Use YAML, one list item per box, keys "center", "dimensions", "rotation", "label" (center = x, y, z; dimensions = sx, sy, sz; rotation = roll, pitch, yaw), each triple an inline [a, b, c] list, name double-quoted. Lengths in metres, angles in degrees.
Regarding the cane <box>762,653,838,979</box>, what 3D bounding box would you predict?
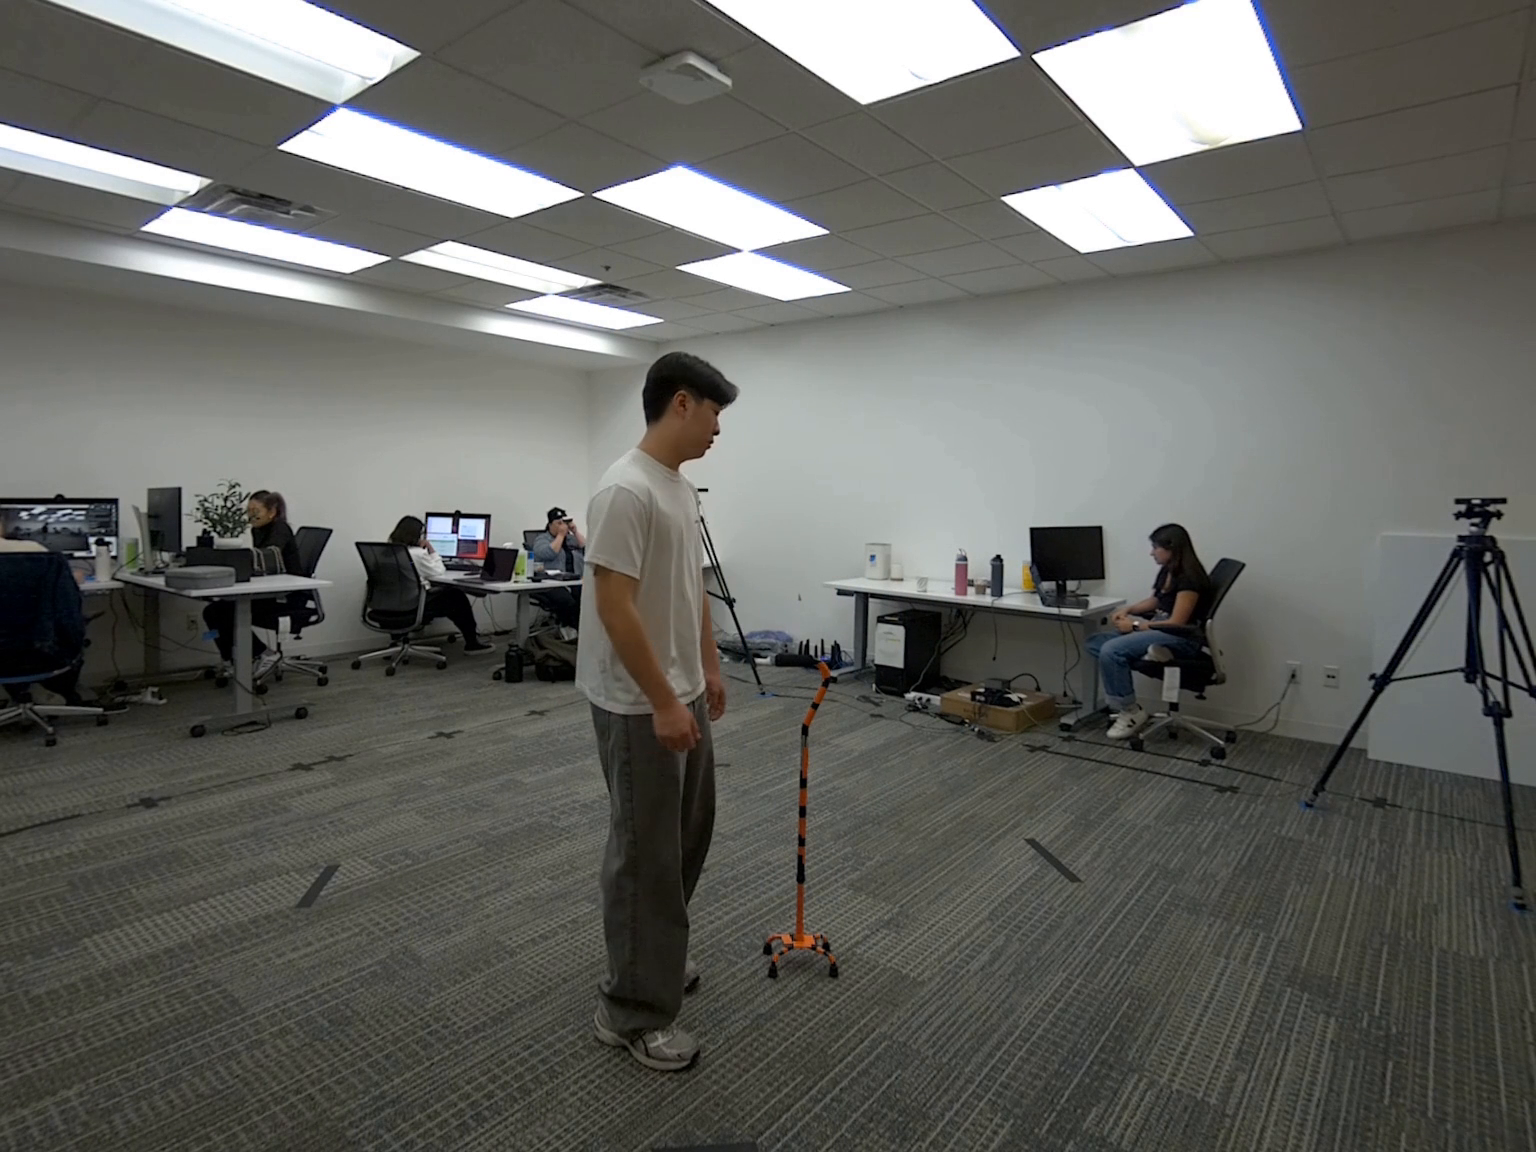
- center: [0.111, 0.681, 2.480]
  dimensions: [0.205, 0.906, 0.153]
  rotation: [2, 2, -5]
  label: "cane"
